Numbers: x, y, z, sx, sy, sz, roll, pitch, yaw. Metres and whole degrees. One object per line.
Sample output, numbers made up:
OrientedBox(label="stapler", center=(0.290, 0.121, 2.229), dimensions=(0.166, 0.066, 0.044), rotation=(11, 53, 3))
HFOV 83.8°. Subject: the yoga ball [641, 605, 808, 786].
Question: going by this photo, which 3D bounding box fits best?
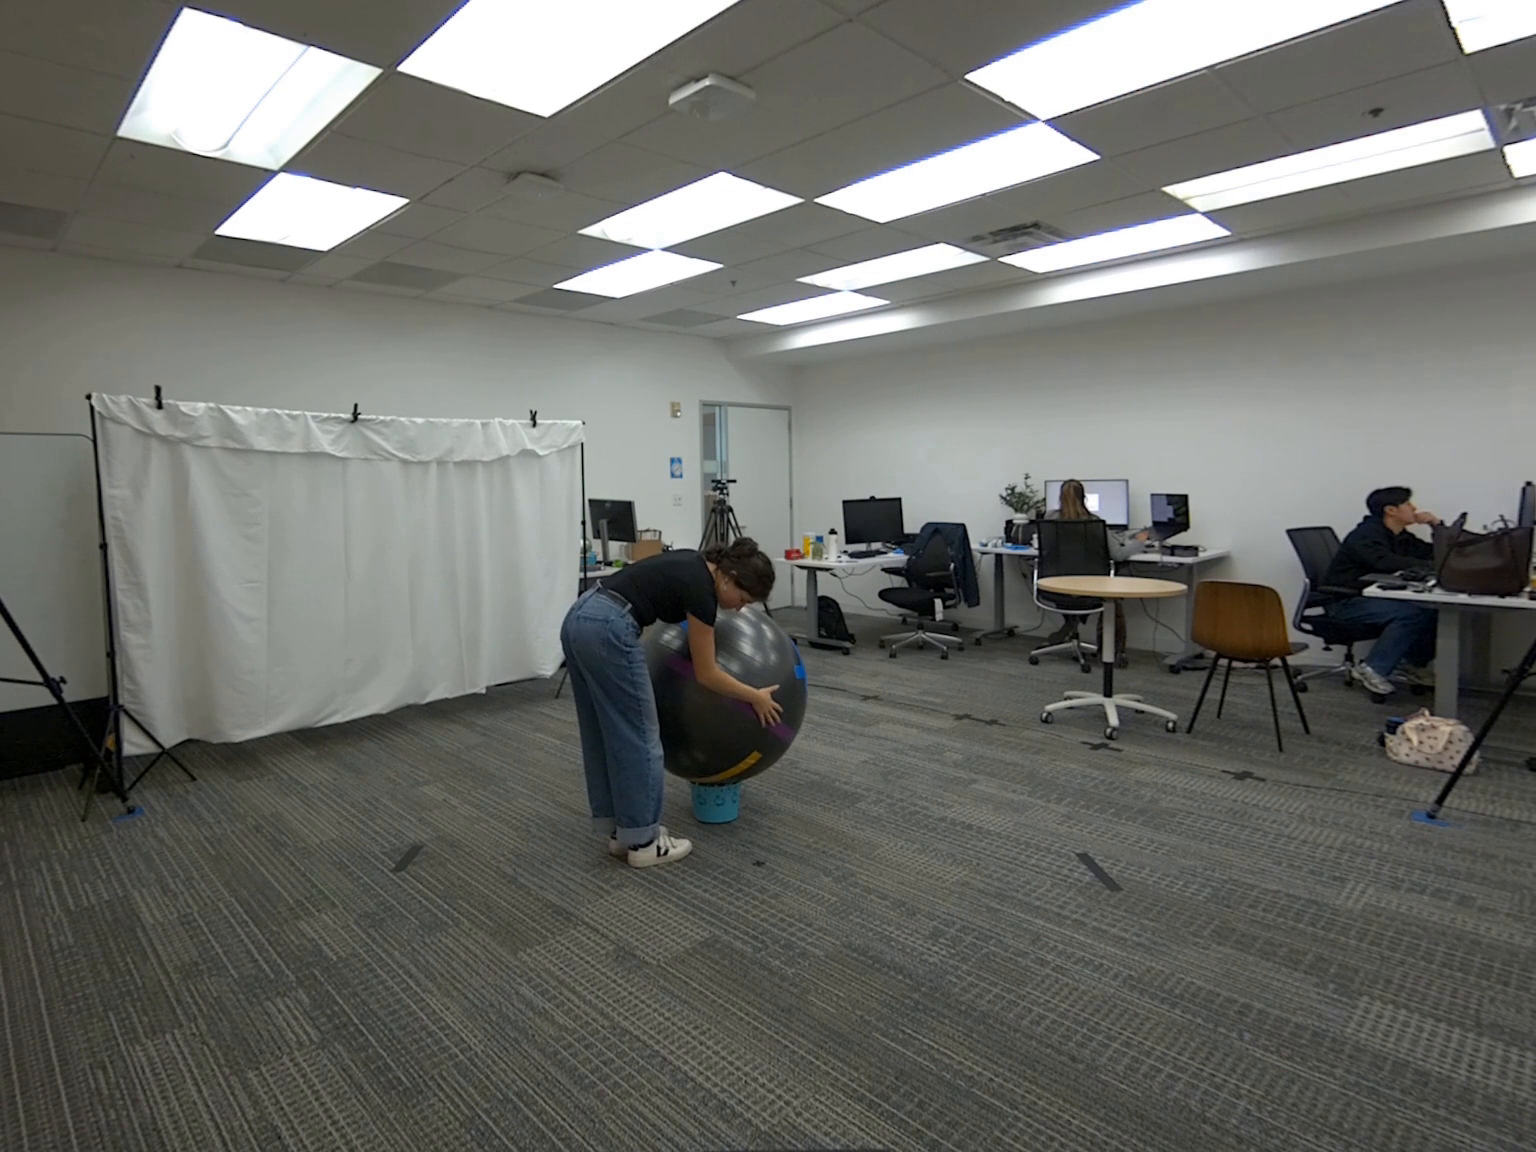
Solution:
OrientedBox(label="yoga ball", center=(-0.214, 0.484, 3.600), dimensions=(0.757, 0.755, 0.762), rotation=(-1, 5, -2))
